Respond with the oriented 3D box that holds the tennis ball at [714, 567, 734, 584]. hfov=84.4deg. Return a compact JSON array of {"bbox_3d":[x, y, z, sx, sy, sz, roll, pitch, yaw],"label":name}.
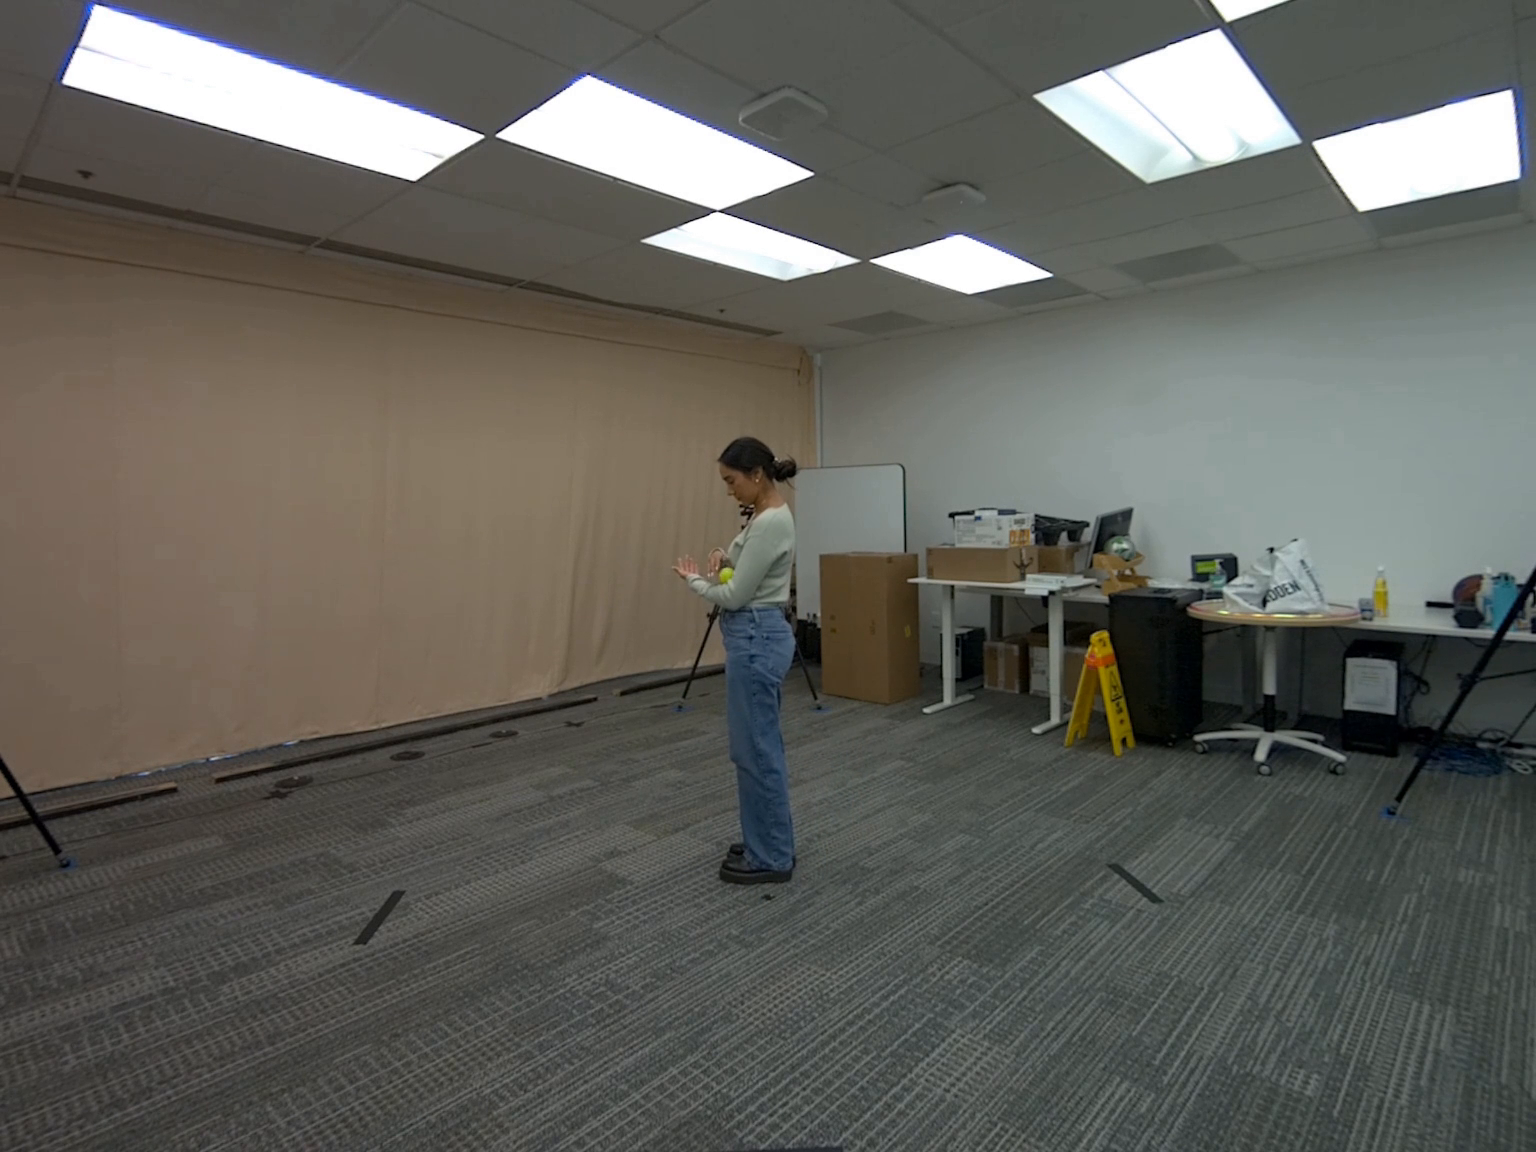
[{"bbox_3d":[-0.151,-0.003,3.101,0.066,0.066,0.067,-1,4,-2],"label":"tennis ball"}]
